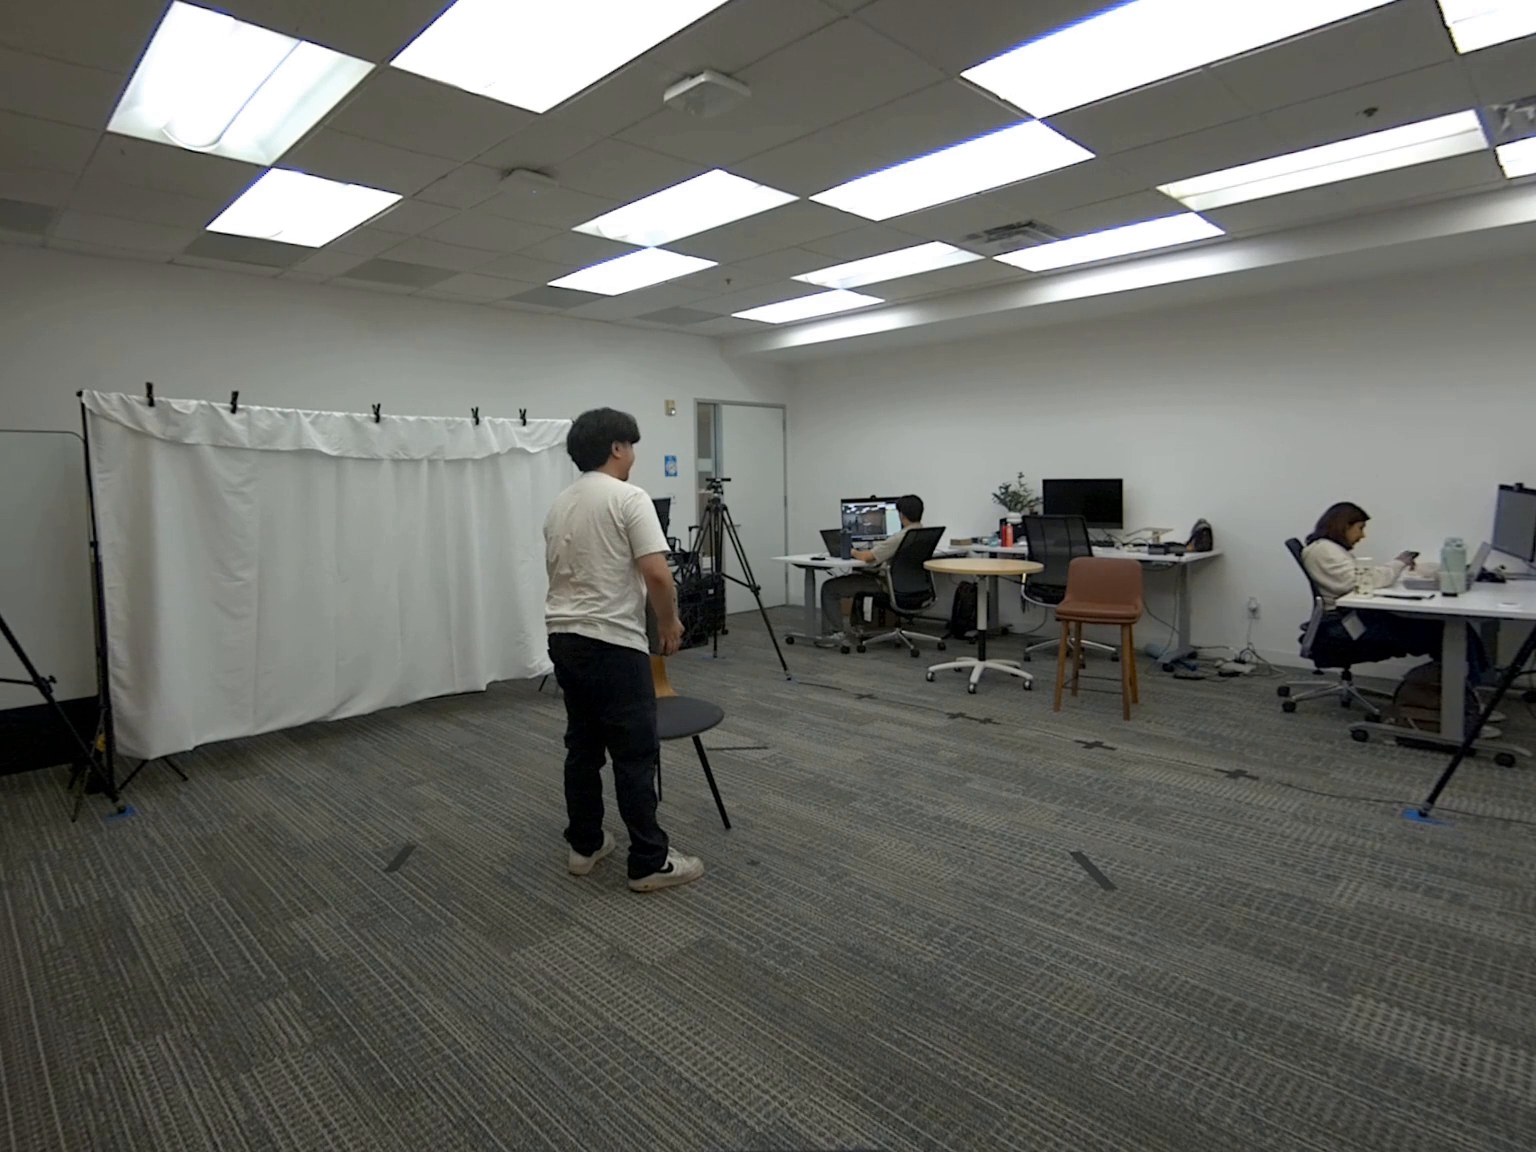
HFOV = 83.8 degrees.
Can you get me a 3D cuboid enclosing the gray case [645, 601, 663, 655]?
[{"bbox_3d":[-0.448,0.150,3.205,0.101,0.259,0.265,-5,8,-44],"label":"gray case"}]
